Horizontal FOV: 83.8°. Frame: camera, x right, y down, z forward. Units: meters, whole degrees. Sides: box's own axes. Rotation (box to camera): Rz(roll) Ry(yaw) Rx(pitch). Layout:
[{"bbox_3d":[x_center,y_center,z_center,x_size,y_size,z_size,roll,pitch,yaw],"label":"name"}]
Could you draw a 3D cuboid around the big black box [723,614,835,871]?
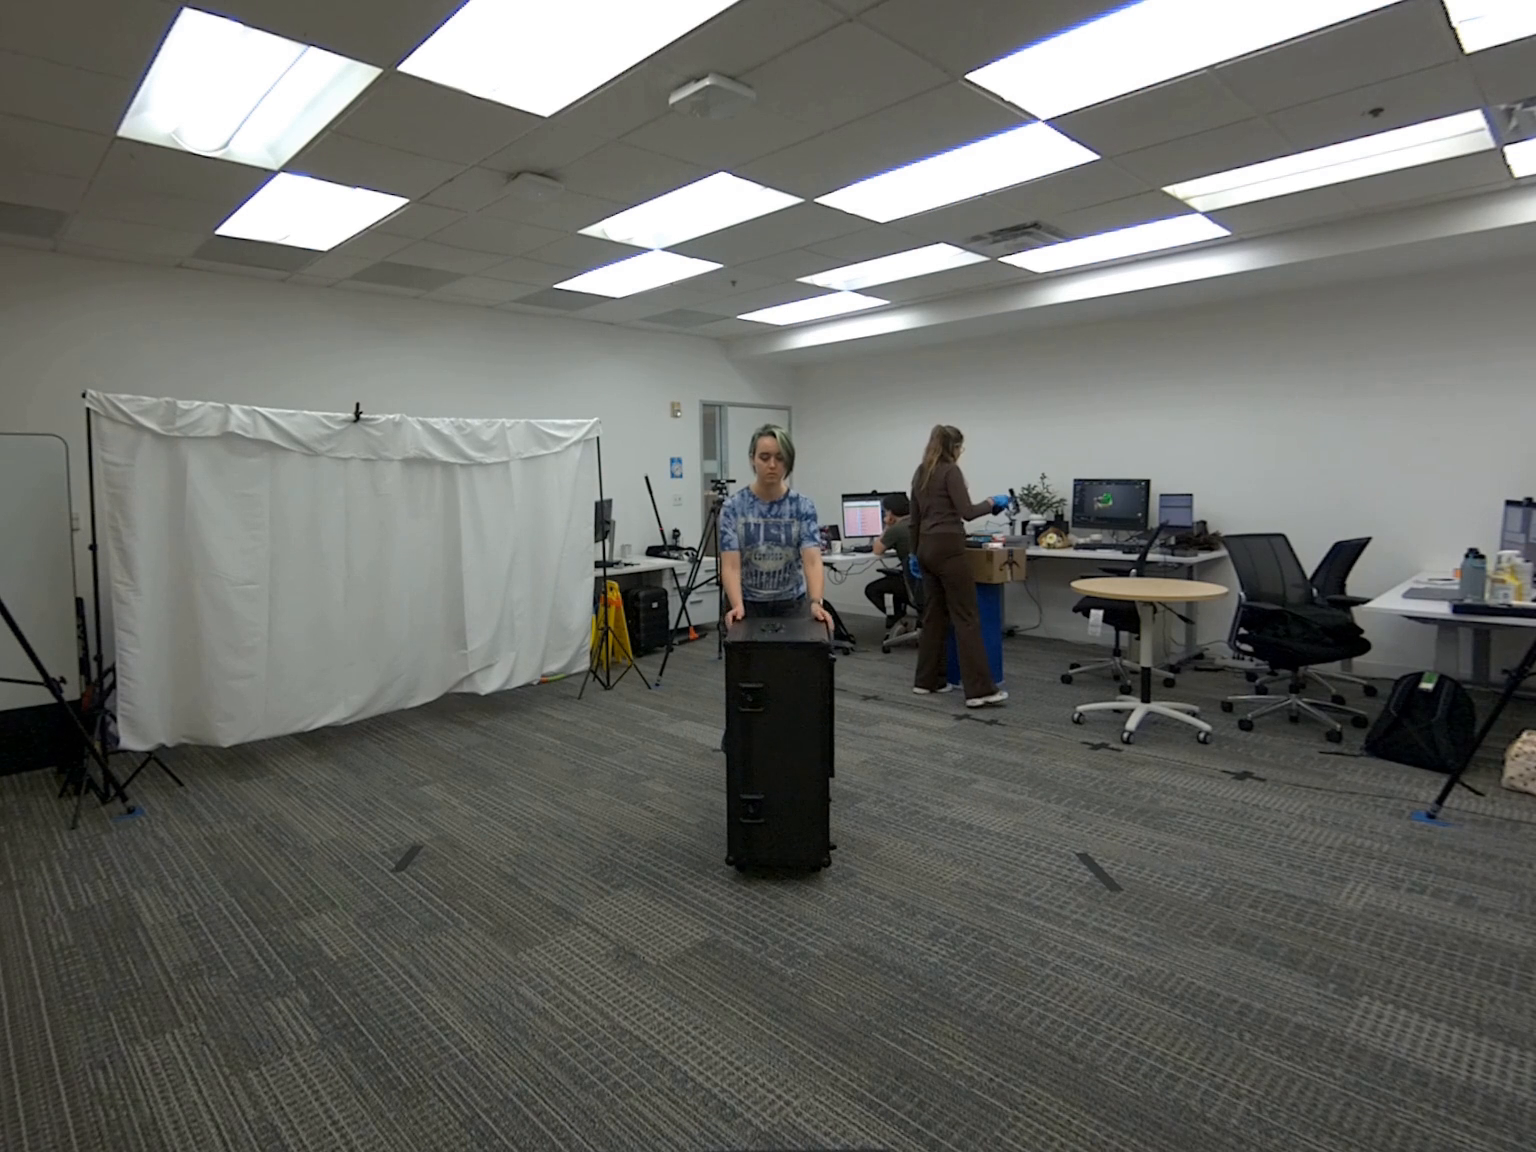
[{"bbox_3d":[0.047,0.625,3.150,0.398,0.858,0.520,0,4,4],"label":"big black box"}]
